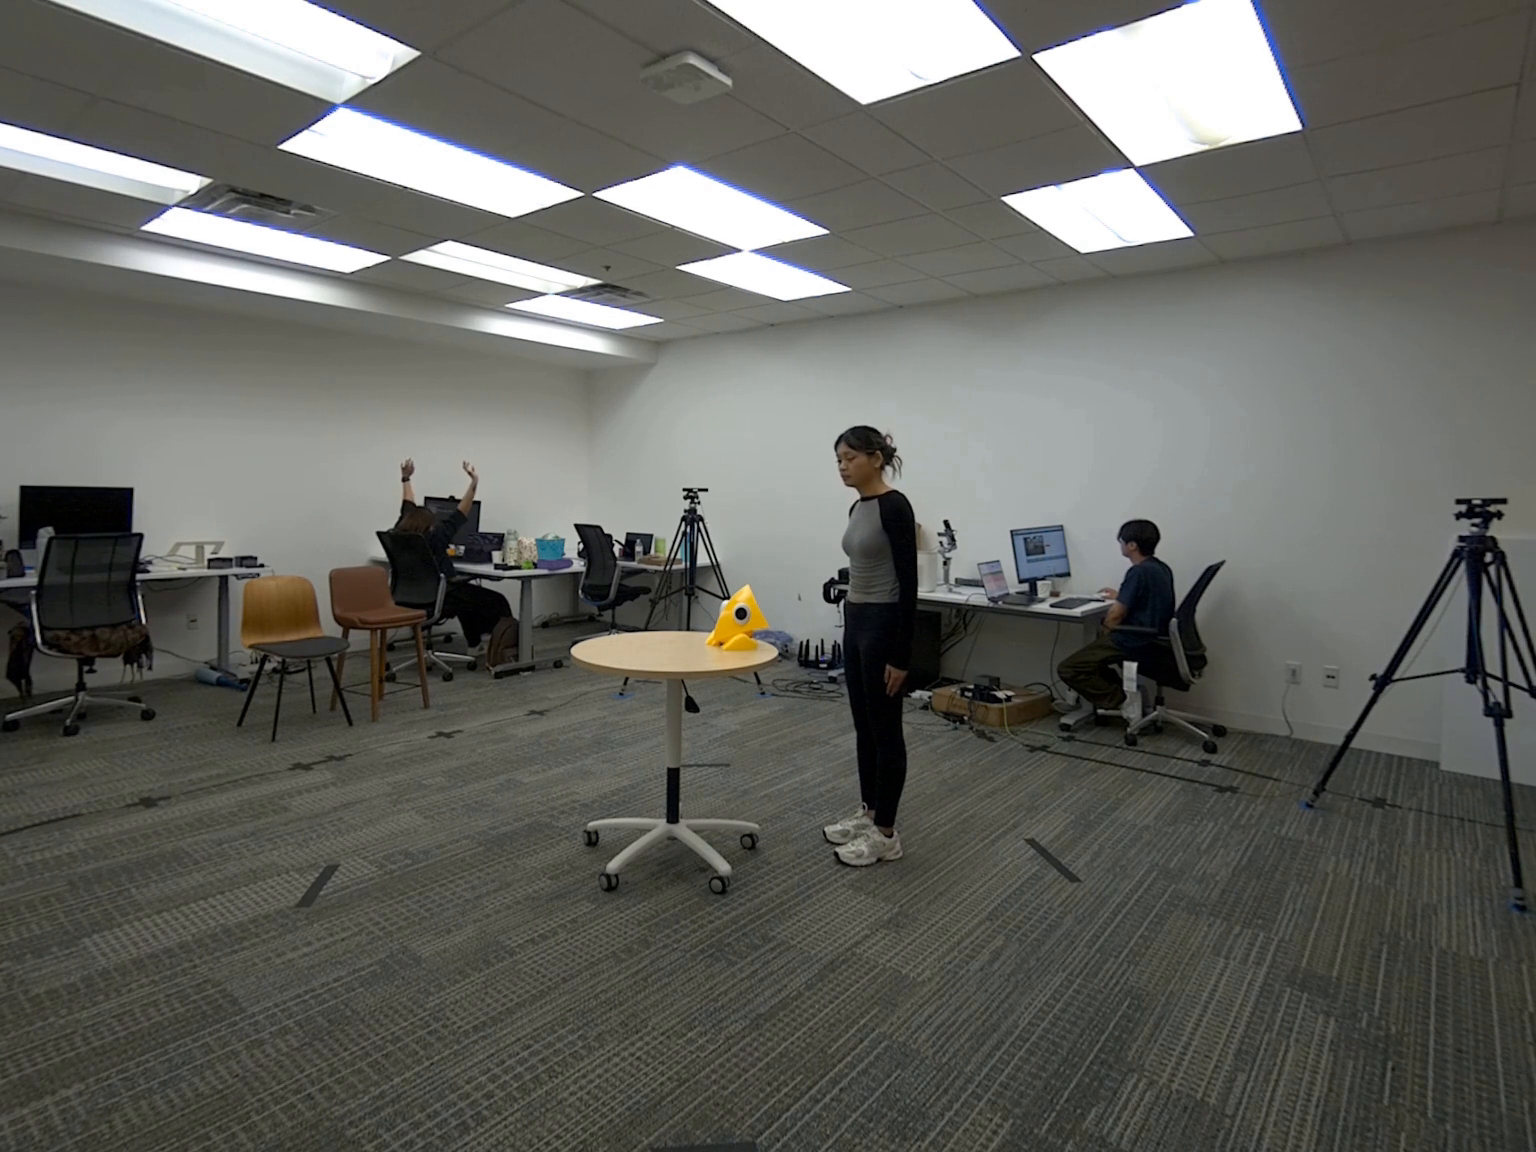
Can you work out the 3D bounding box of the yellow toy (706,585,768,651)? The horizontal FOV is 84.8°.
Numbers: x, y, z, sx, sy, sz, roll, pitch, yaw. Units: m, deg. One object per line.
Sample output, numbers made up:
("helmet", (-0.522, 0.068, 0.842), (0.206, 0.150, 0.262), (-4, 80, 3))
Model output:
("yellow toy", (-0.136, 0.147, 3.253), (0.188, 0.230, 0.211), (-3, 5, -34))
